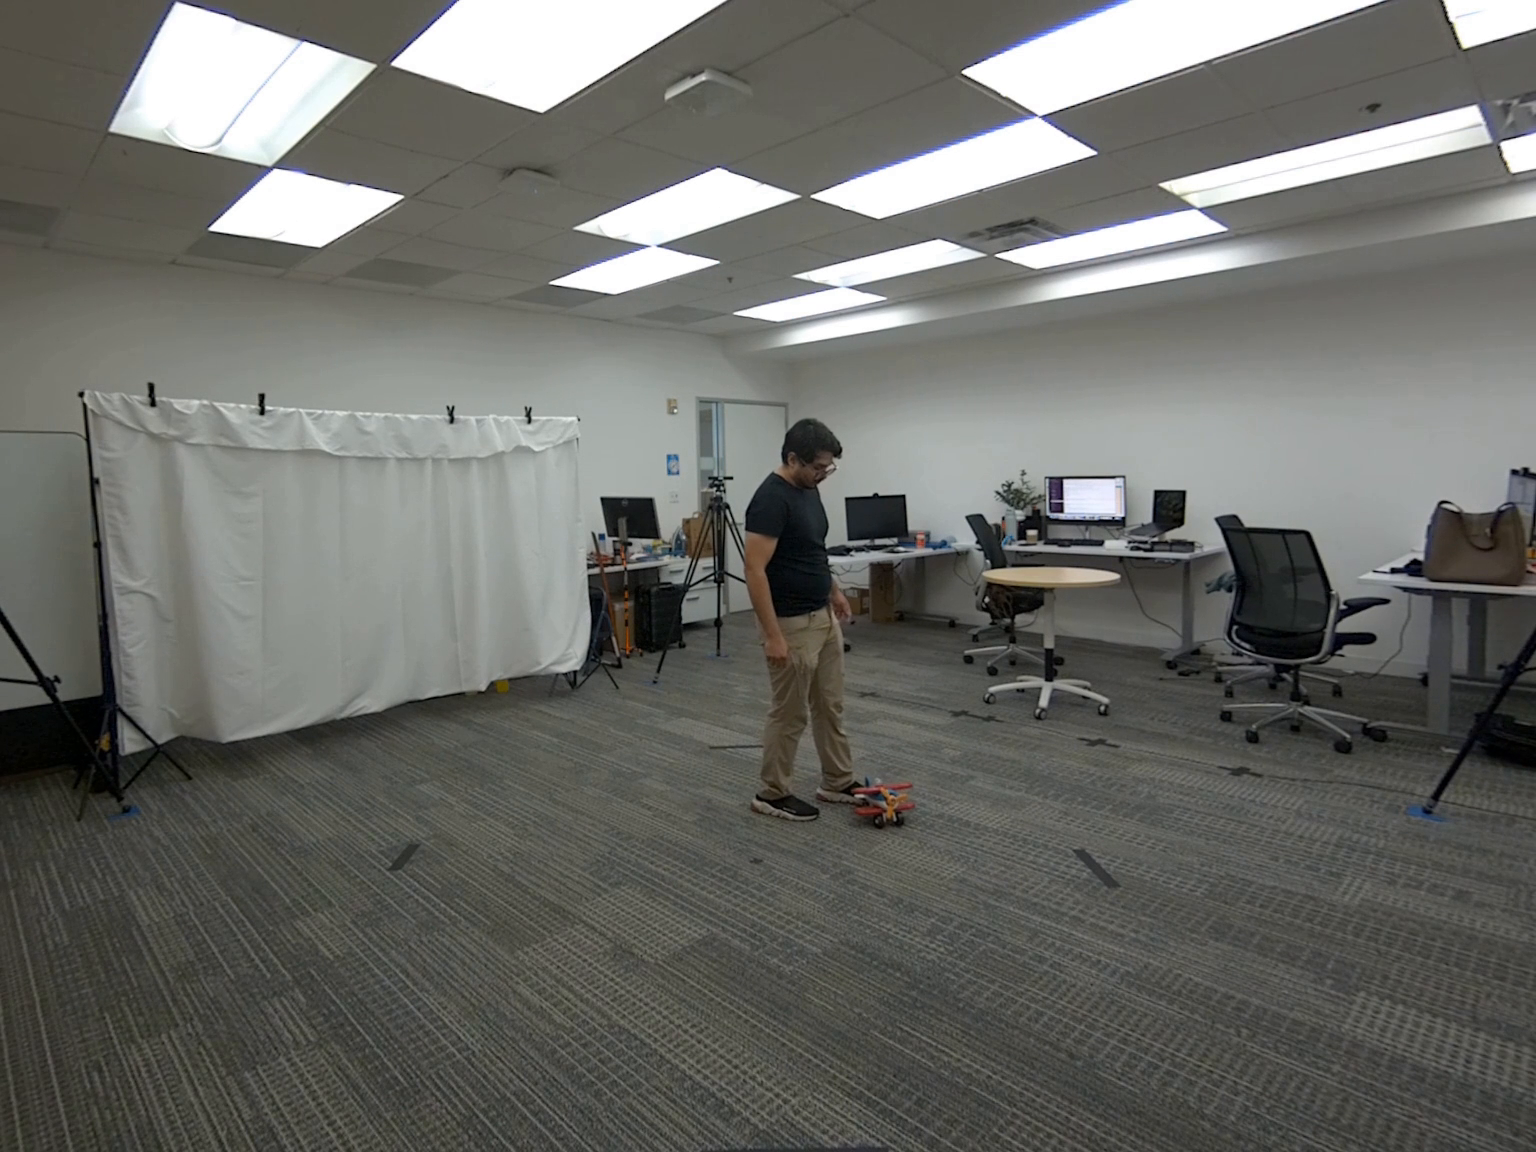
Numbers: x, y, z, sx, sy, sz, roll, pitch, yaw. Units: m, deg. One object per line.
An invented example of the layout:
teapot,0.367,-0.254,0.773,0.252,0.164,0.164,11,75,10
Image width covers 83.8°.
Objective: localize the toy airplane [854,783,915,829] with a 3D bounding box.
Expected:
toy airplane,0.438,0.911,3.466,0.244,0.156,0.267,-5,9,-44
